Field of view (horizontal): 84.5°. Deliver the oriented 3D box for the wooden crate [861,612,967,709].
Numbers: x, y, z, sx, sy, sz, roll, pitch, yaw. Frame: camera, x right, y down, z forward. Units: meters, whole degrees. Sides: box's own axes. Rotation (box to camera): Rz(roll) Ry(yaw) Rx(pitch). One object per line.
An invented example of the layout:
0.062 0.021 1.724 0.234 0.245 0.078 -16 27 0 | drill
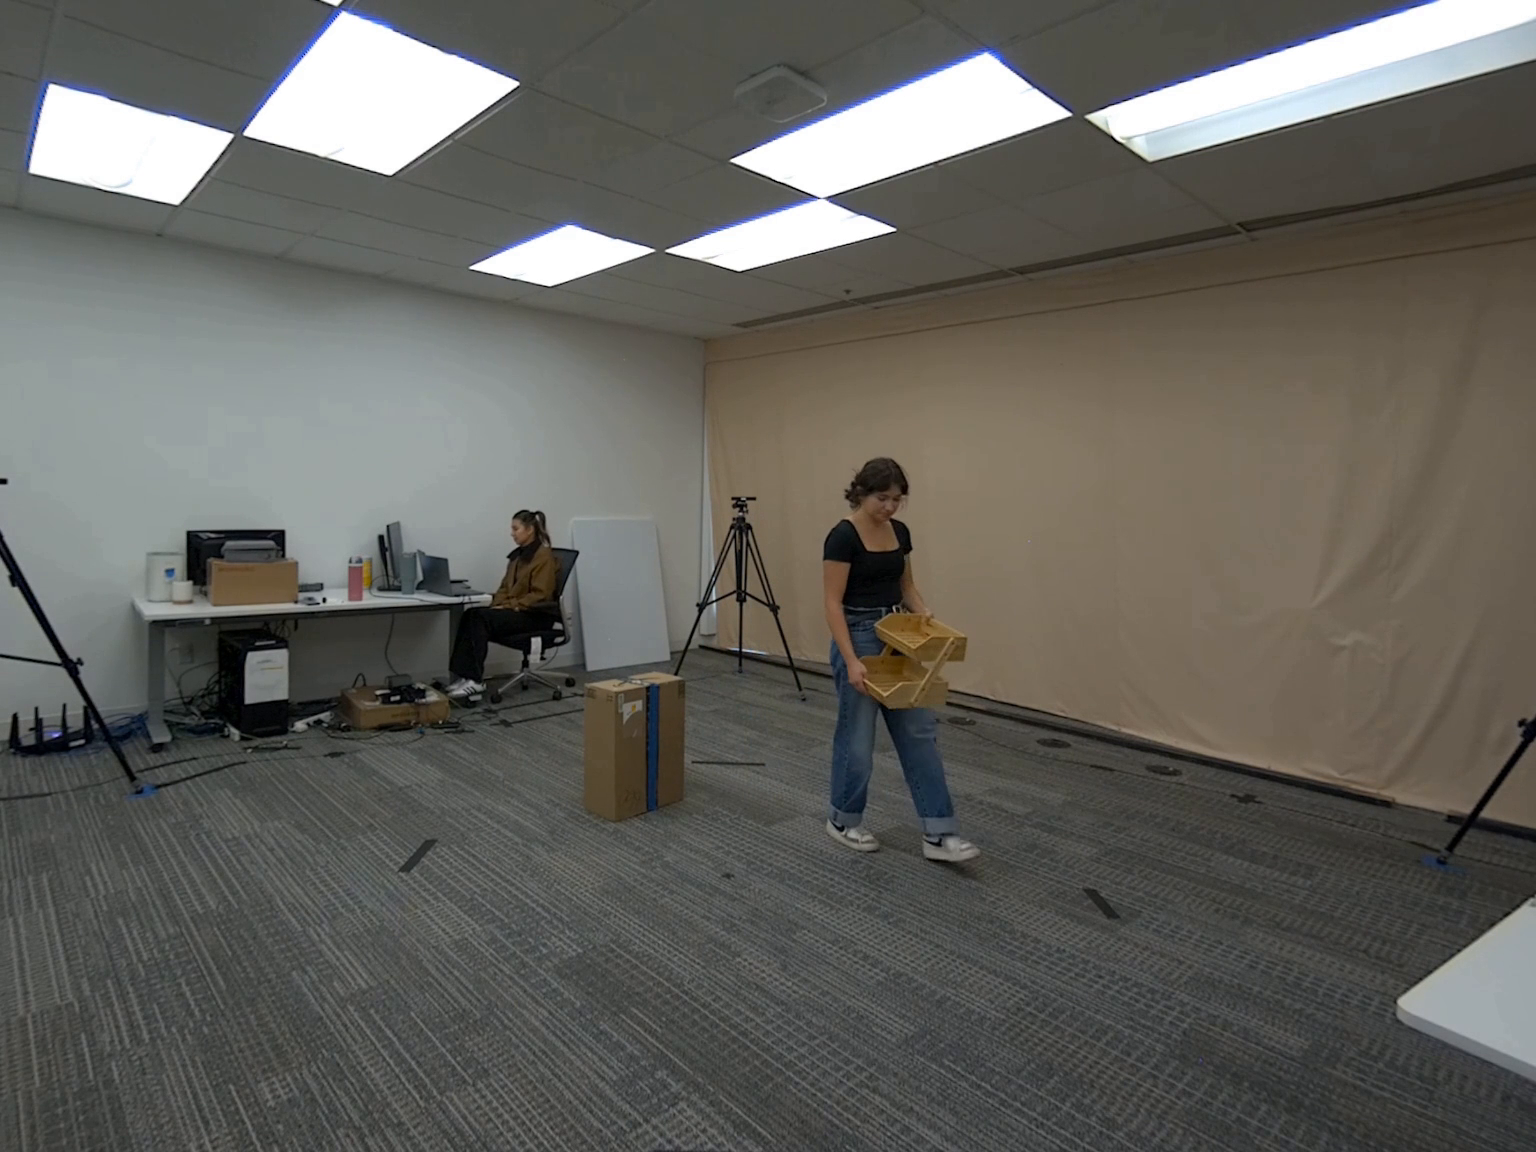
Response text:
0.487 0.298 3.090 0.297 0.271 0.332 1 12 -21 | wooden crate
